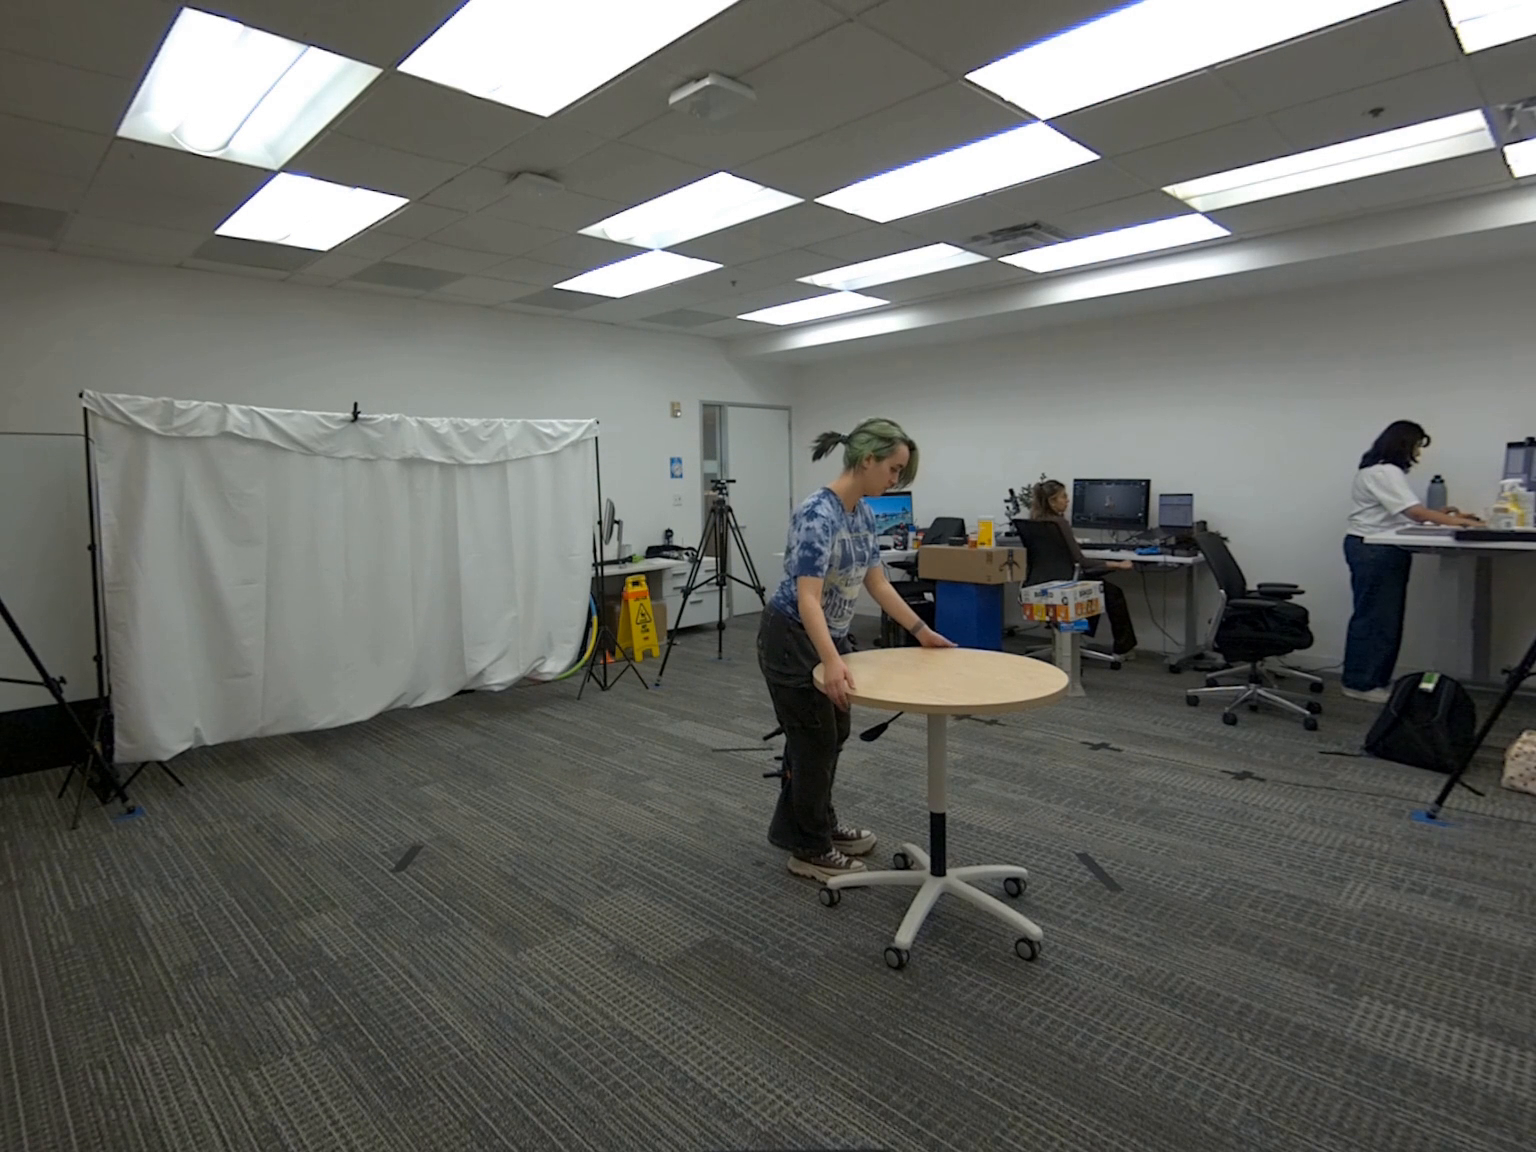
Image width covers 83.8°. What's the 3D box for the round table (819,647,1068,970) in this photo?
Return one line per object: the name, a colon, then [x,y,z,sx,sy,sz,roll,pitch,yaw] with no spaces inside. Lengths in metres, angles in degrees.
round table: [0.542,0.696,2.681,0.763,0.790,0.768,-1,5,-2]
